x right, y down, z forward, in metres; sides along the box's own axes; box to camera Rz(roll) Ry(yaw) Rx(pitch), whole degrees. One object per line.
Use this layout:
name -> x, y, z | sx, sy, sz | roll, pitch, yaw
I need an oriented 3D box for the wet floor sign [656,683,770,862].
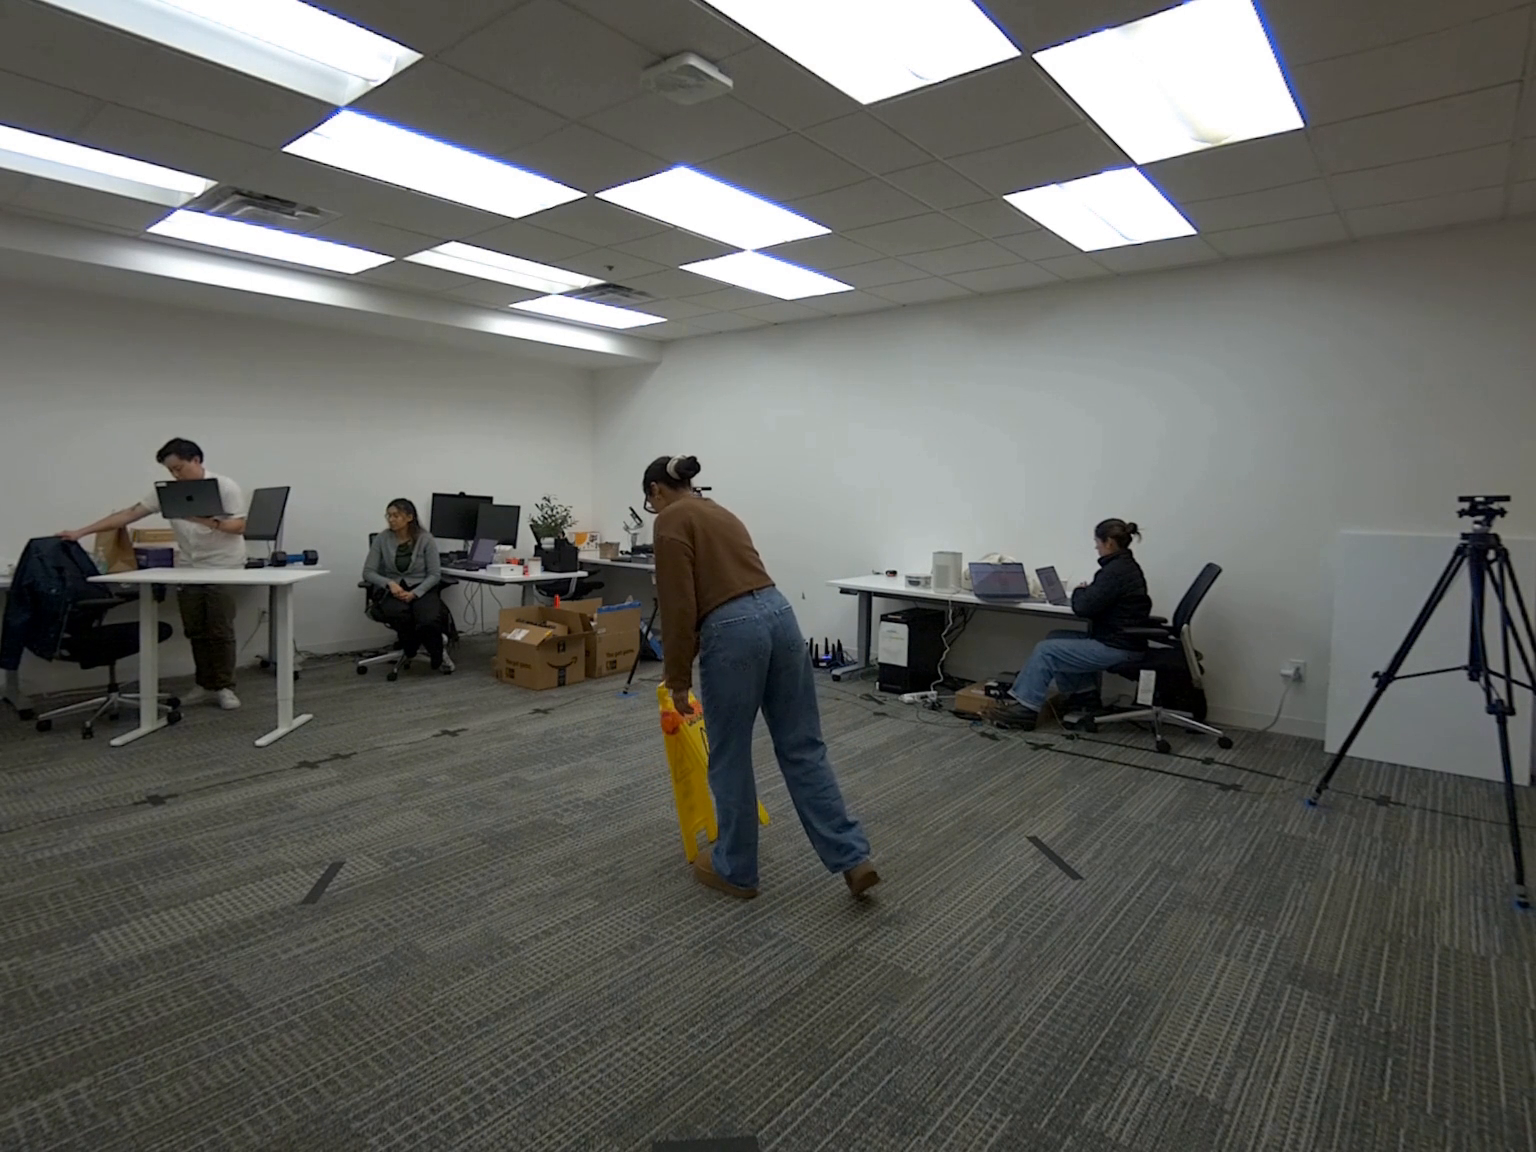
wet floor sign -> -0.272, 0.702, 3.263 | 0.292, 0.650, 0.278 | -24, -5, 17
